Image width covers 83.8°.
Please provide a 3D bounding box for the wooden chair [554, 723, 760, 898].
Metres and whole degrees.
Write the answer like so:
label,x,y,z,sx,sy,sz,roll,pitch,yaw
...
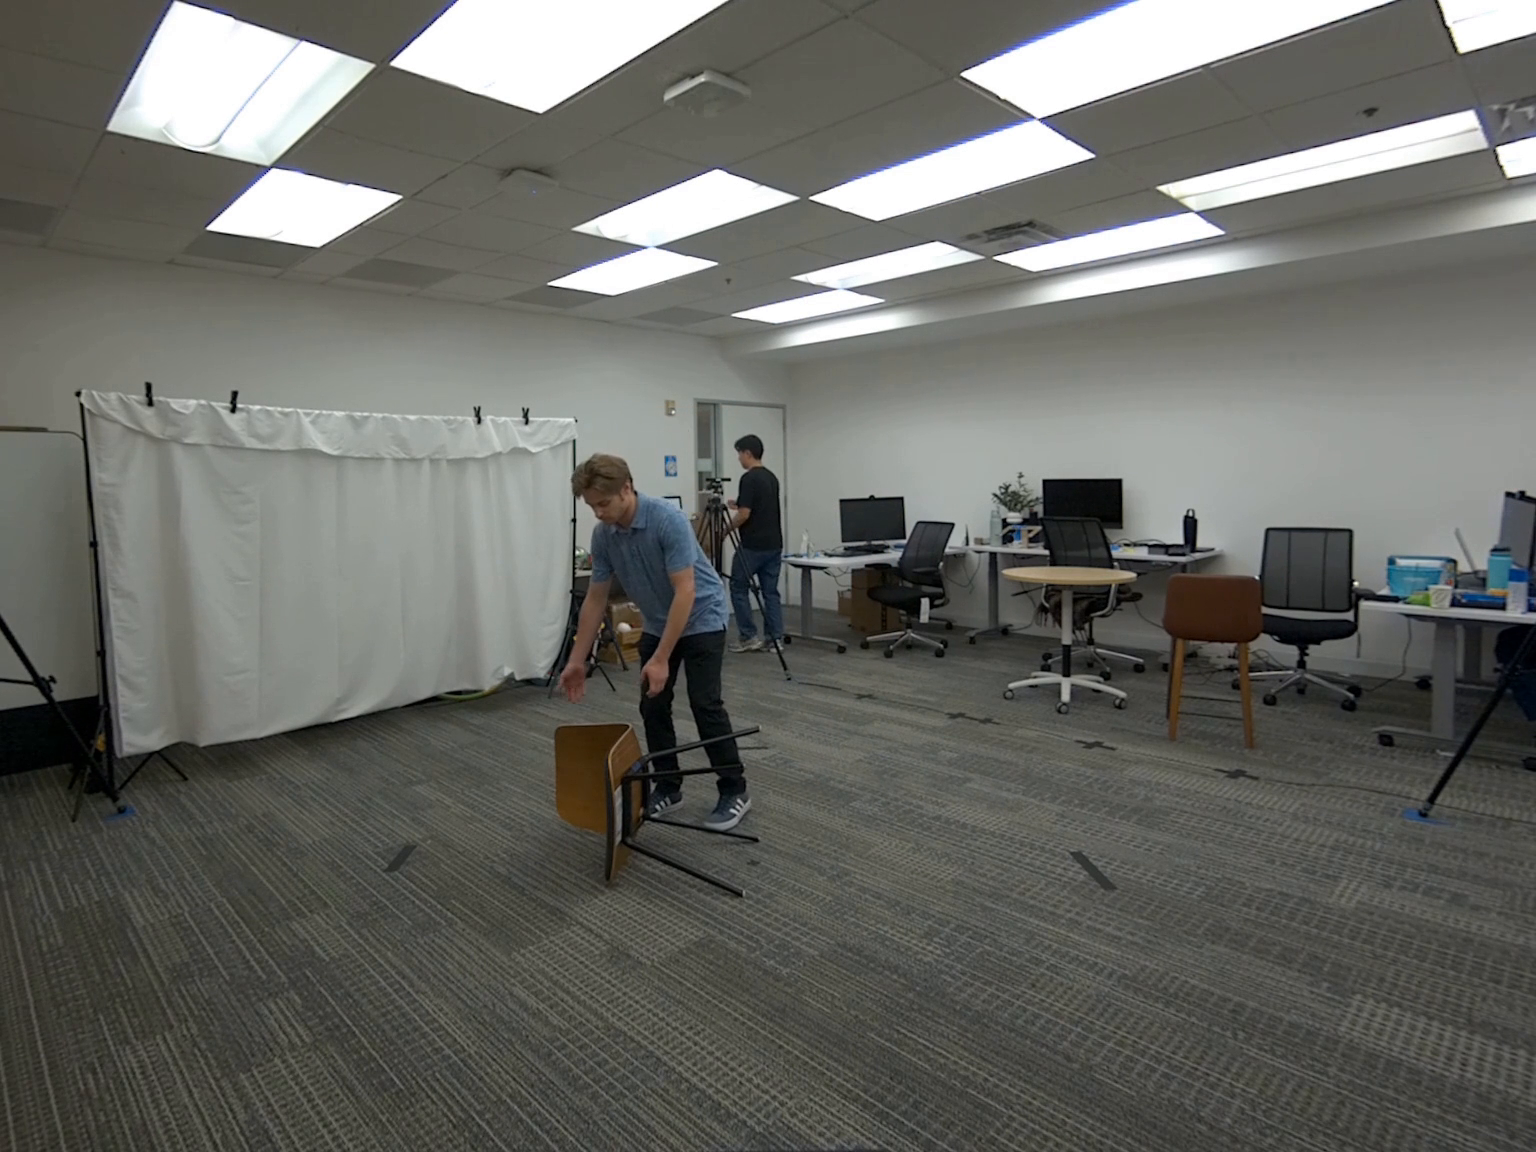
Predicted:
label,x,y,z,sx,sy,sz,roll,pitch,yaw
wooden chair,-0.482,0.816,3.118,0.889,0.476,0.519,1,6,13
